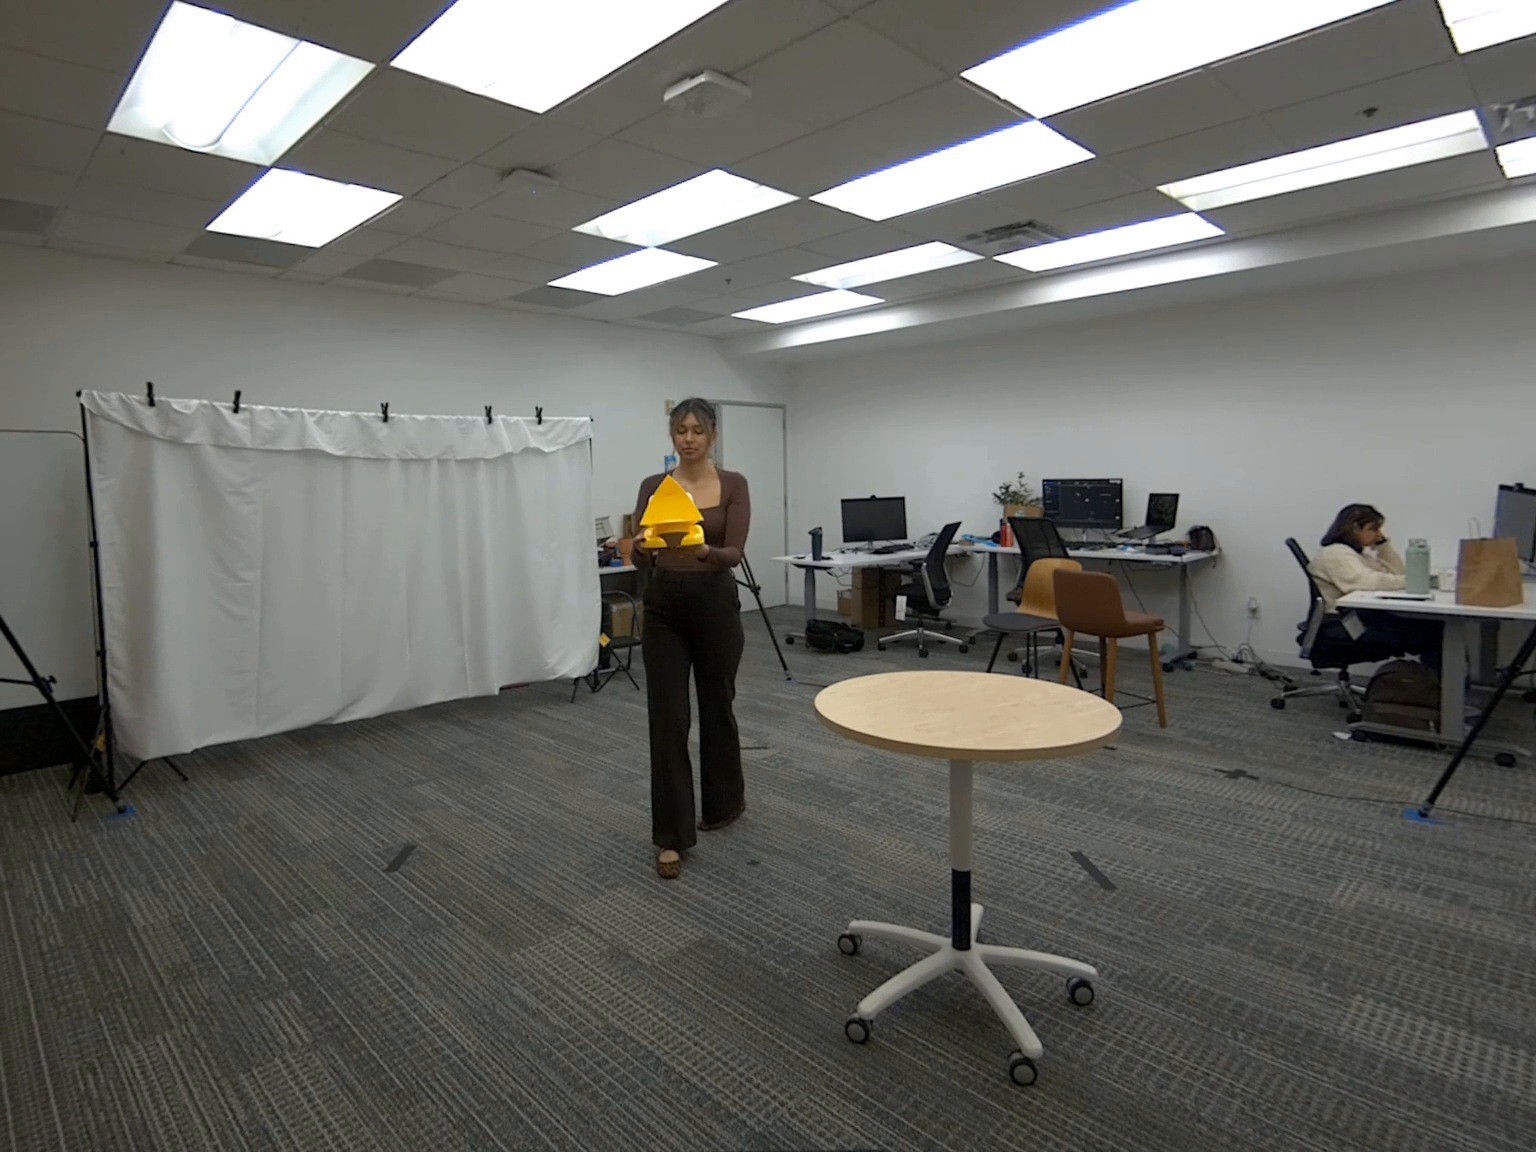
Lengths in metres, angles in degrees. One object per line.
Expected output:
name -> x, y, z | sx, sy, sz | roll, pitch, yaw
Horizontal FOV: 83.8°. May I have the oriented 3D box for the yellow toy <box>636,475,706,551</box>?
yellow toy -> -0.324, -0.221, 2.821 | 0.204, 0.229, 0.195 | -5, 7, -5
